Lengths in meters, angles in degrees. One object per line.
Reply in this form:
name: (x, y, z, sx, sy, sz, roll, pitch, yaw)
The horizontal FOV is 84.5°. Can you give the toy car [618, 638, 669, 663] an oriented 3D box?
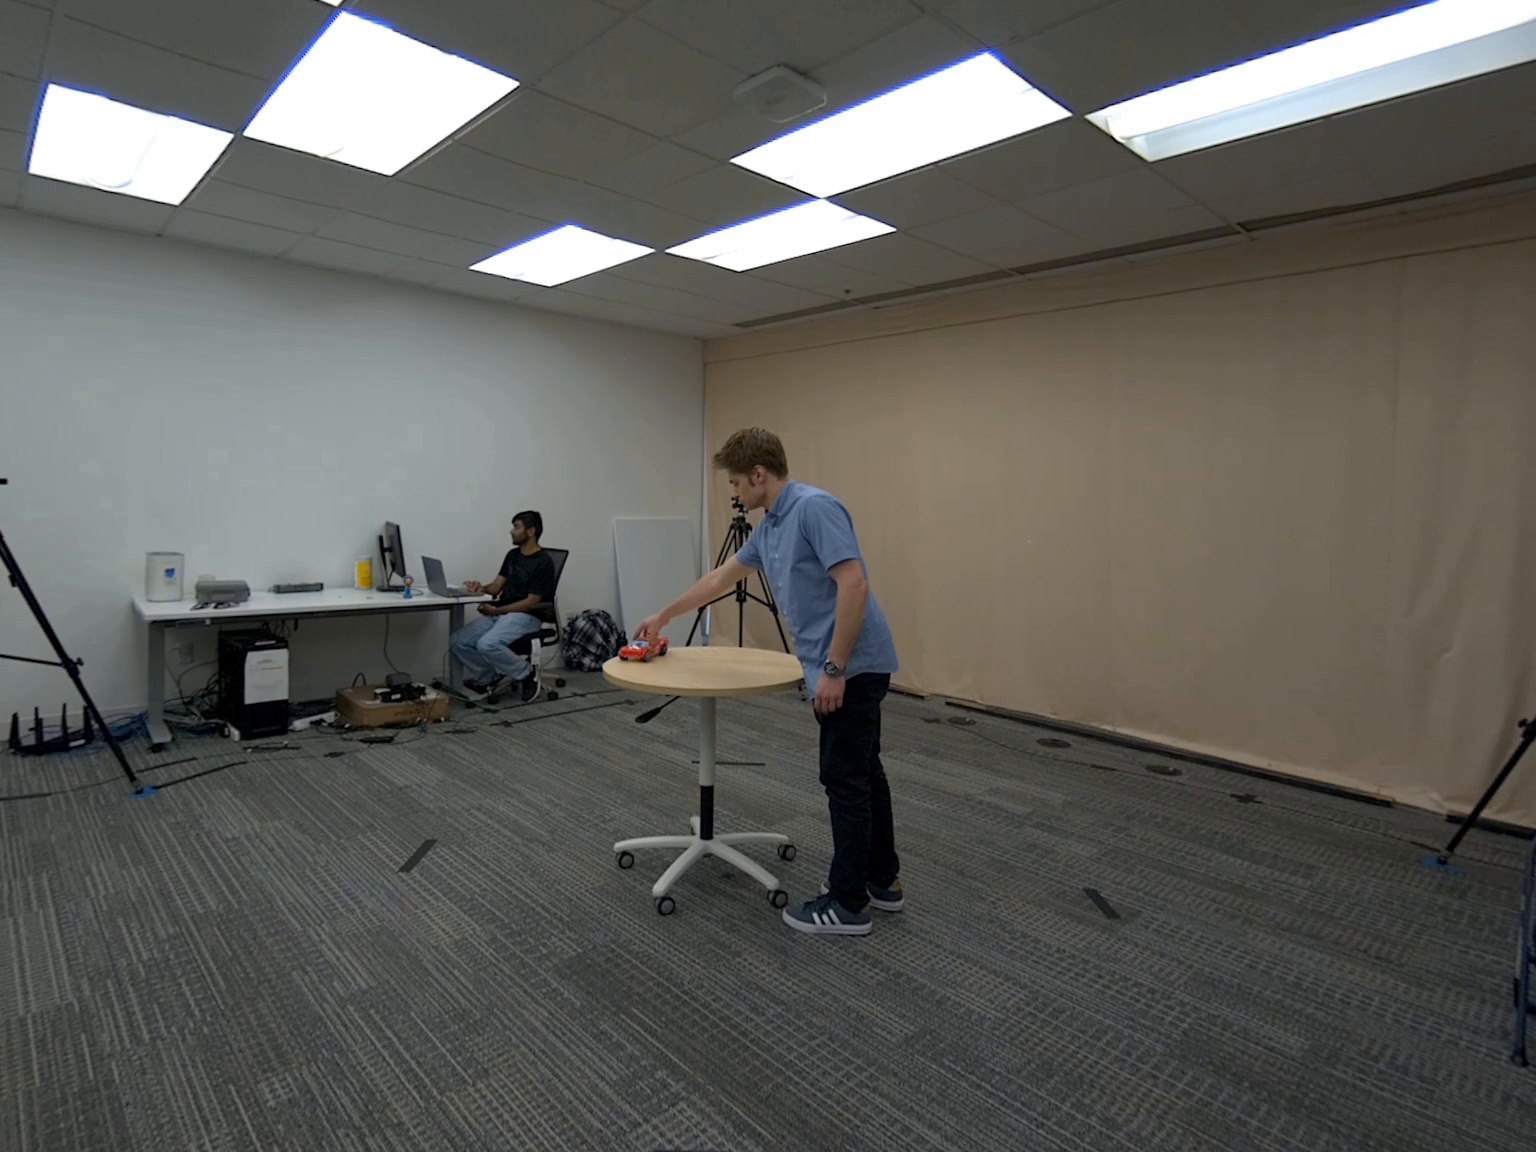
toy car: (-0.474, 0.279, 3.213, 0.132, 0.082, 0.253, 1, 16, 19)
